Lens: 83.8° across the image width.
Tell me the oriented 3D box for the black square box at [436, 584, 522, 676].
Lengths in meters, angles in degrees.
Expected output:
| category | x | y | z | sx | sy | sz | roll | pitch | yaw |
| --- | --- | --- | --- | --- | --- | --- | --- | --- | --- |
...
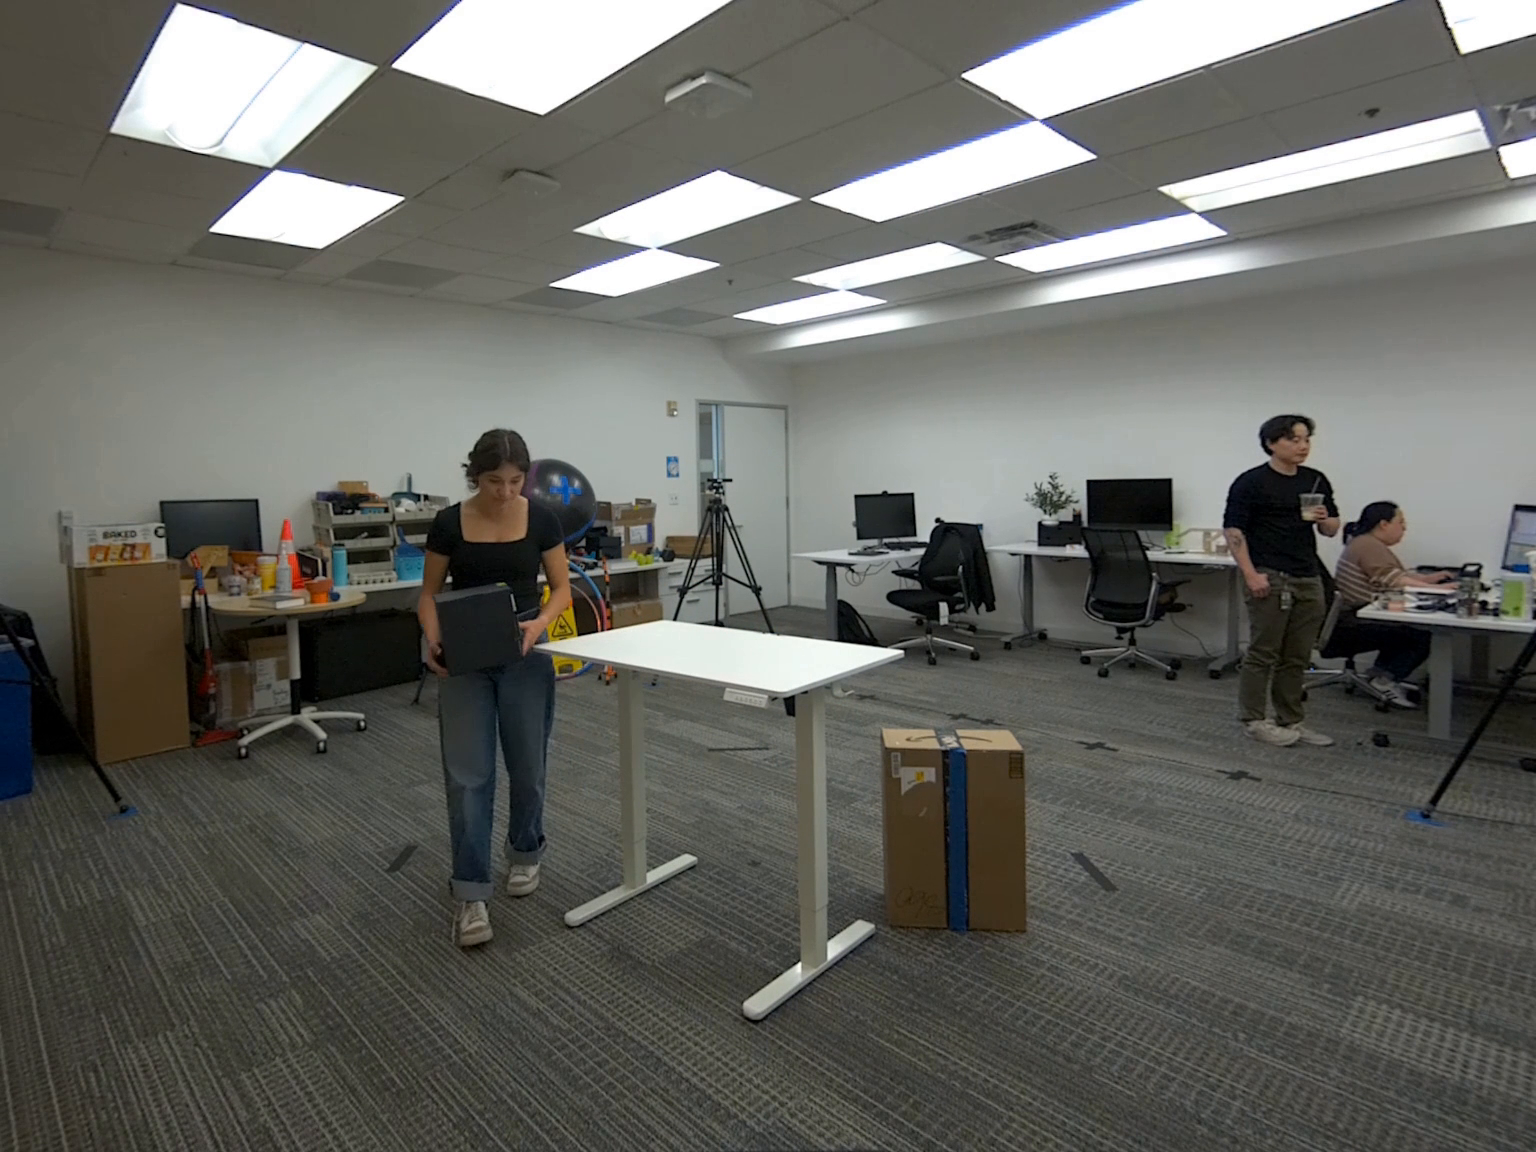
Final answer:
| category | x | y | z | sx | sy | sz | roll | pitch | yaw |
| --- | --- | --- | --- | --- | --- | --- | --- | --- | --- |
| black square box | -0.883 | 0.156 | 2.577 | 0.213 | 0.226 | 0.159 | -11 | 8 | -21 |
